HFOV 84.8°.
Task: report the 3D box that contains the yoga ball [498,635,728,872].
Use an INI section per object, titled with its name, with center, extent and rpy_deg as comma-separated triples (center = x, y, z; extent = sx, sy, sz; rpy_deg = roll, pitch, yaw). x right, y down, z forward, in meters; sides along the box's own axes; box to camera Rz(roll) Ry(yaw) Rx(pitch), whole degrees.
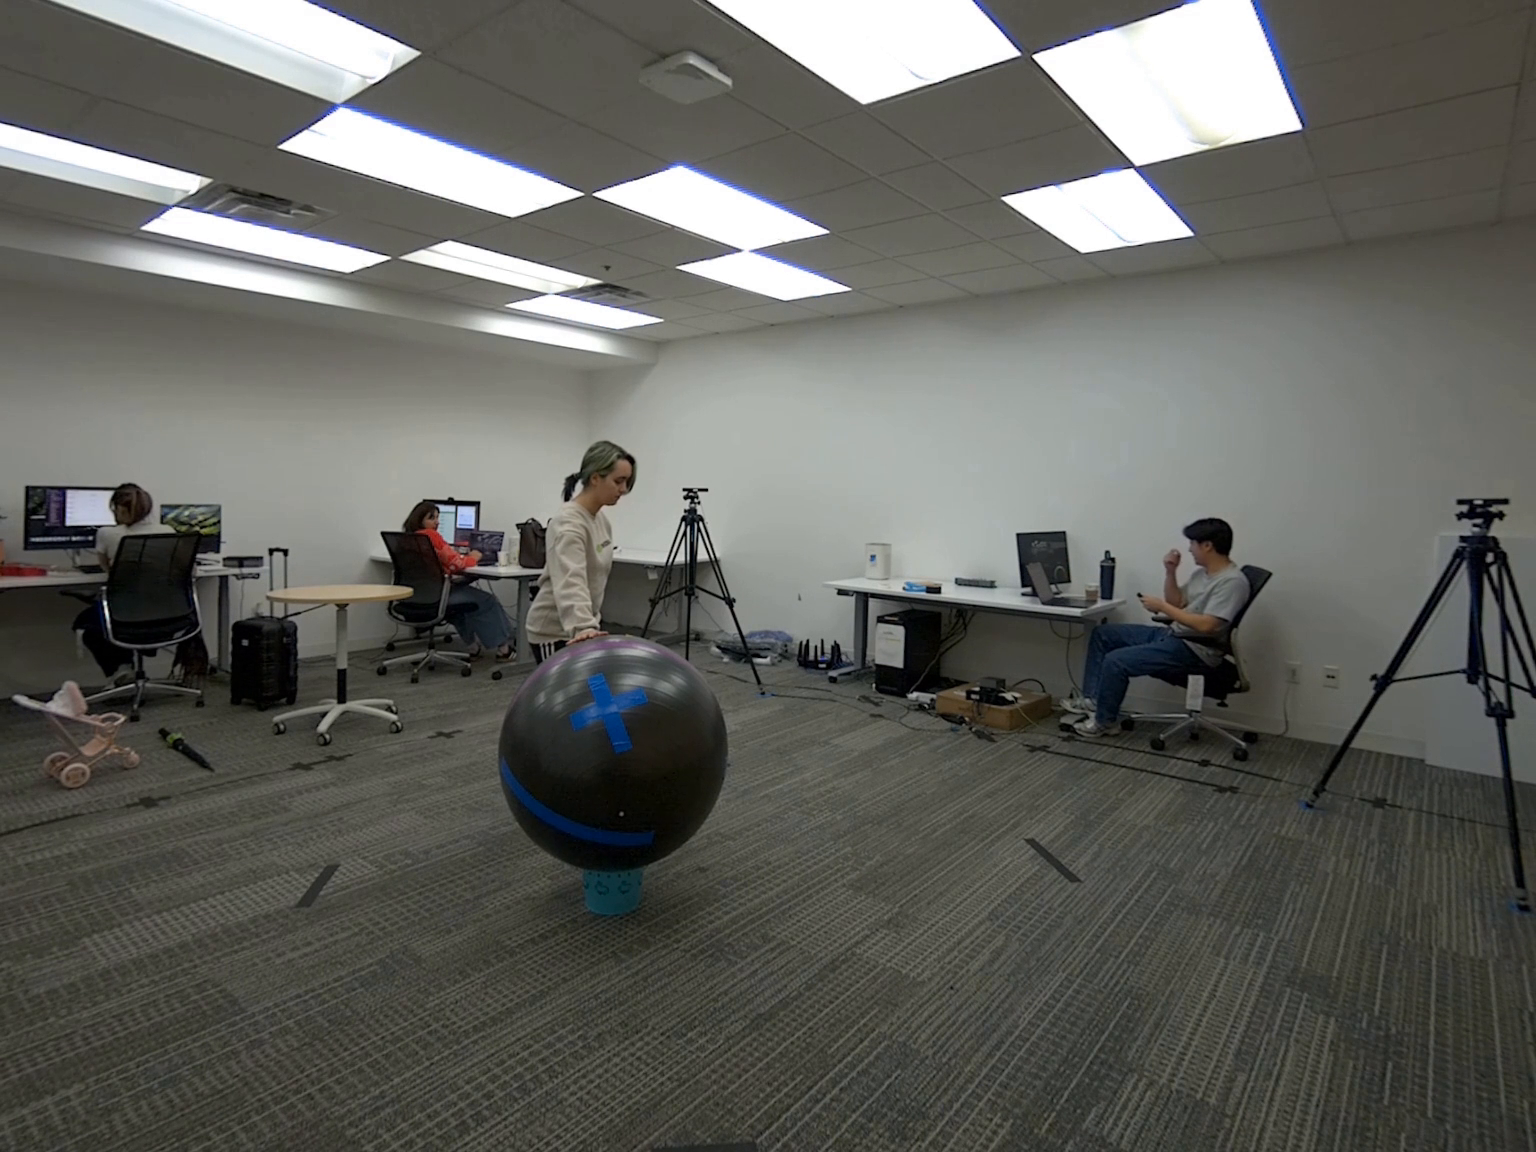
[yoga ball]
center = -0.518, 0.582, 2.834
extent = 0.757, 0.755, 0.762
rpy_deg = 1, 4, -2
